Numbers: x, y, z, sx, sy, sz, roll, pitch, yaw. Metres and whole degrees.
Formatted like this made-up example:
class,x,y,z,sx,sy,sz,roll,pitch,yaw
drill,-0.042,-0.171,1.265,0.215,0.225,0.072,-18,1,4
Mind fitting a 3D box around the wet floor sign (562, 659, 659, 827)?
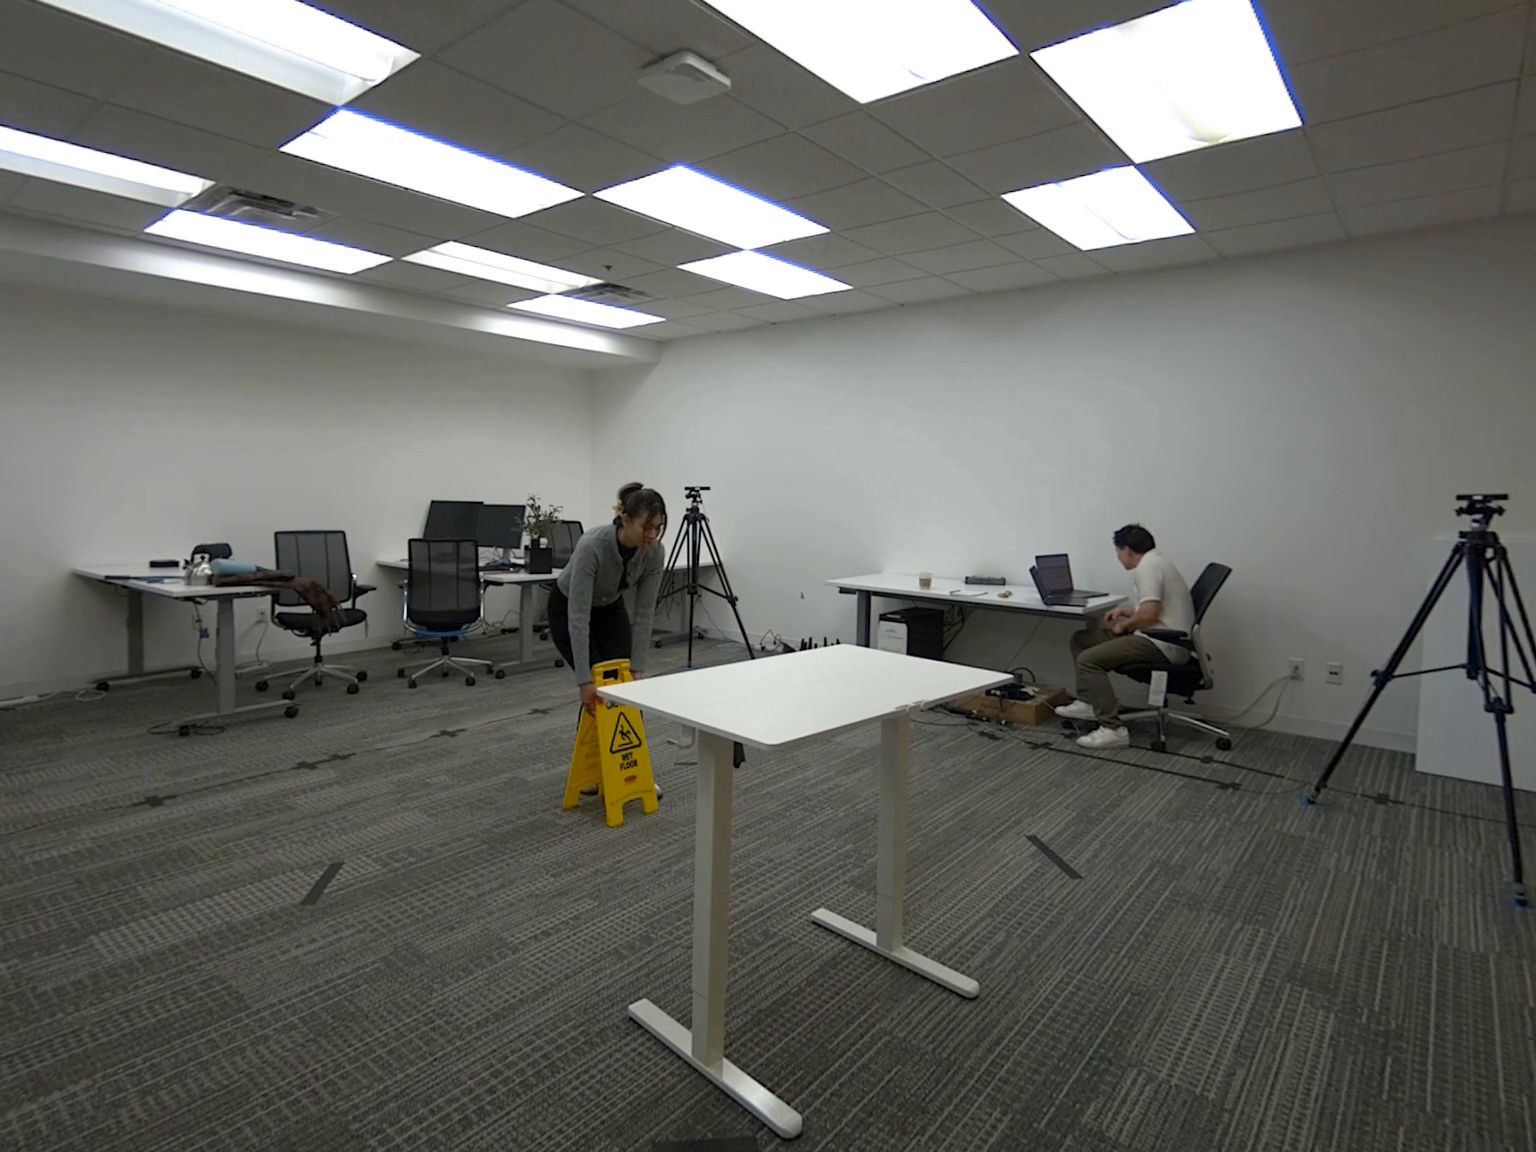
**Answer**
class,x,y,z,sx,sy,sz,roll,pitch,yaw
wet floor sign,-0.687,0.681,3.658,0.299,0.645,0.274,2,3,41
